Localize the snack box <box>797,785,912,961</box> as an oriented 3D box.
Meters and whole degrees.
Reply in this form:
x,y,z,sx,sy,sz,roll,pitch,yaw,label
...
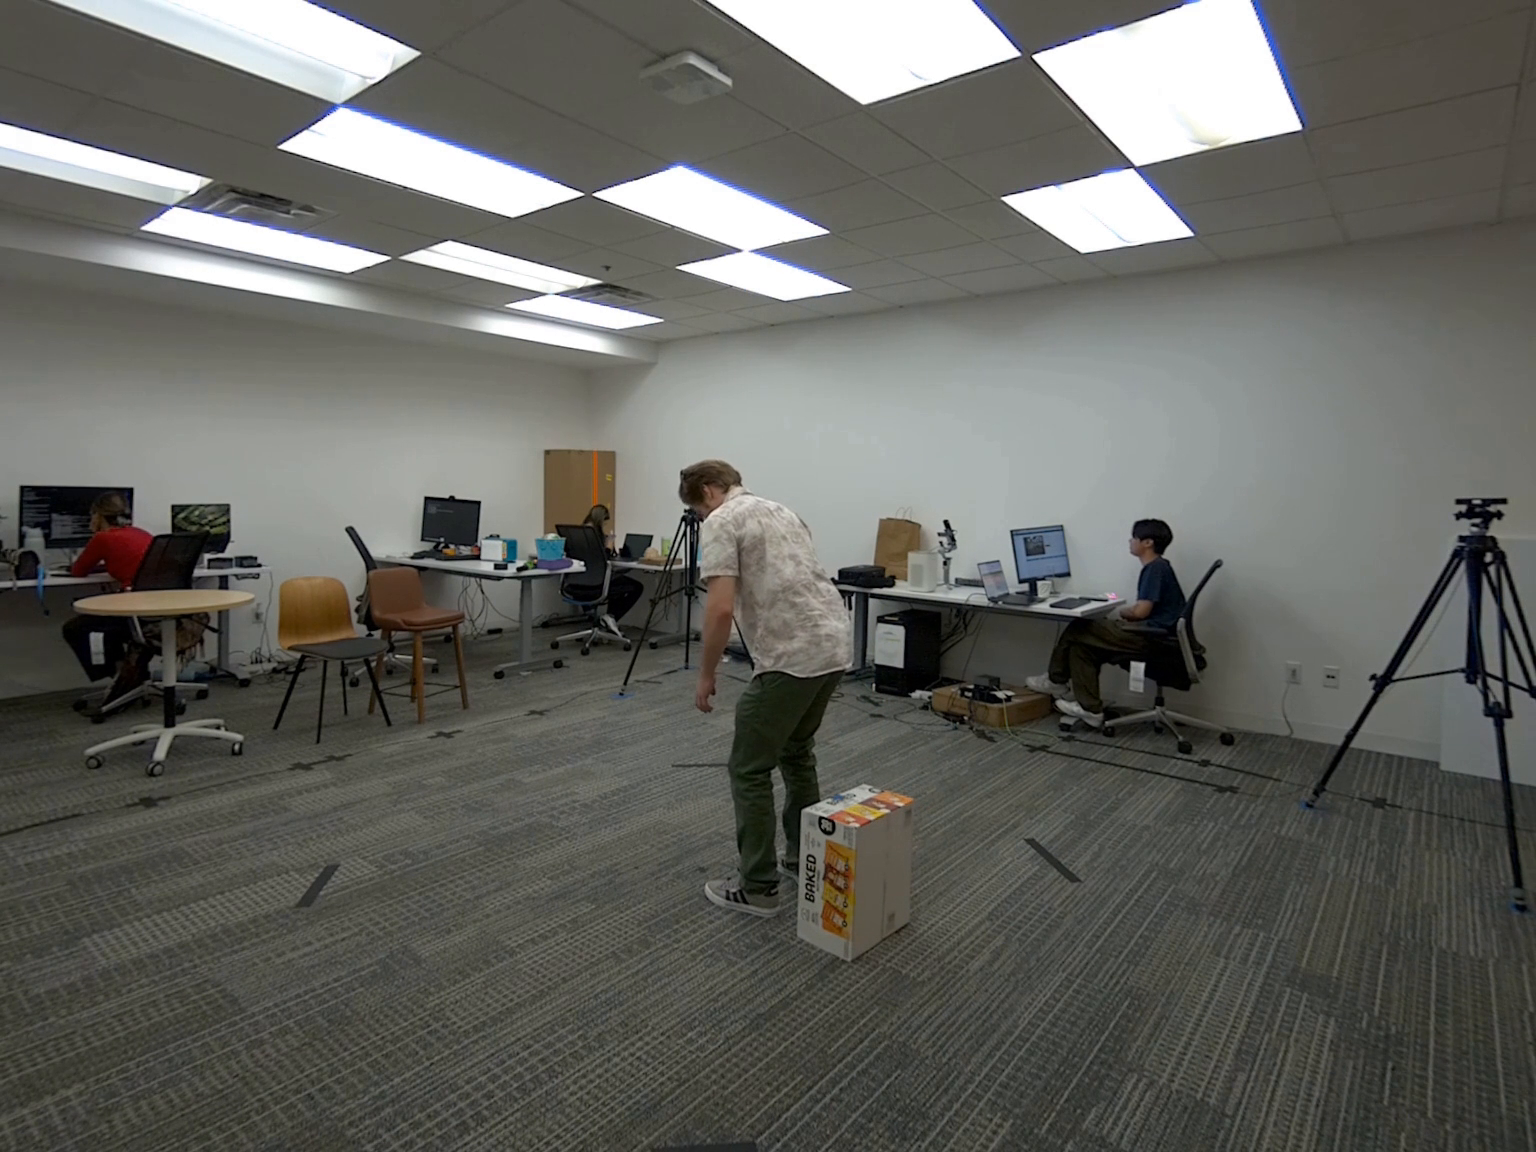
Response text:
x,y,z,sx,sy,sz,roll,pitch,yaw,label
0.278,0.920,2.689,0.213,0.404,0.330,4,4,42,snack box
